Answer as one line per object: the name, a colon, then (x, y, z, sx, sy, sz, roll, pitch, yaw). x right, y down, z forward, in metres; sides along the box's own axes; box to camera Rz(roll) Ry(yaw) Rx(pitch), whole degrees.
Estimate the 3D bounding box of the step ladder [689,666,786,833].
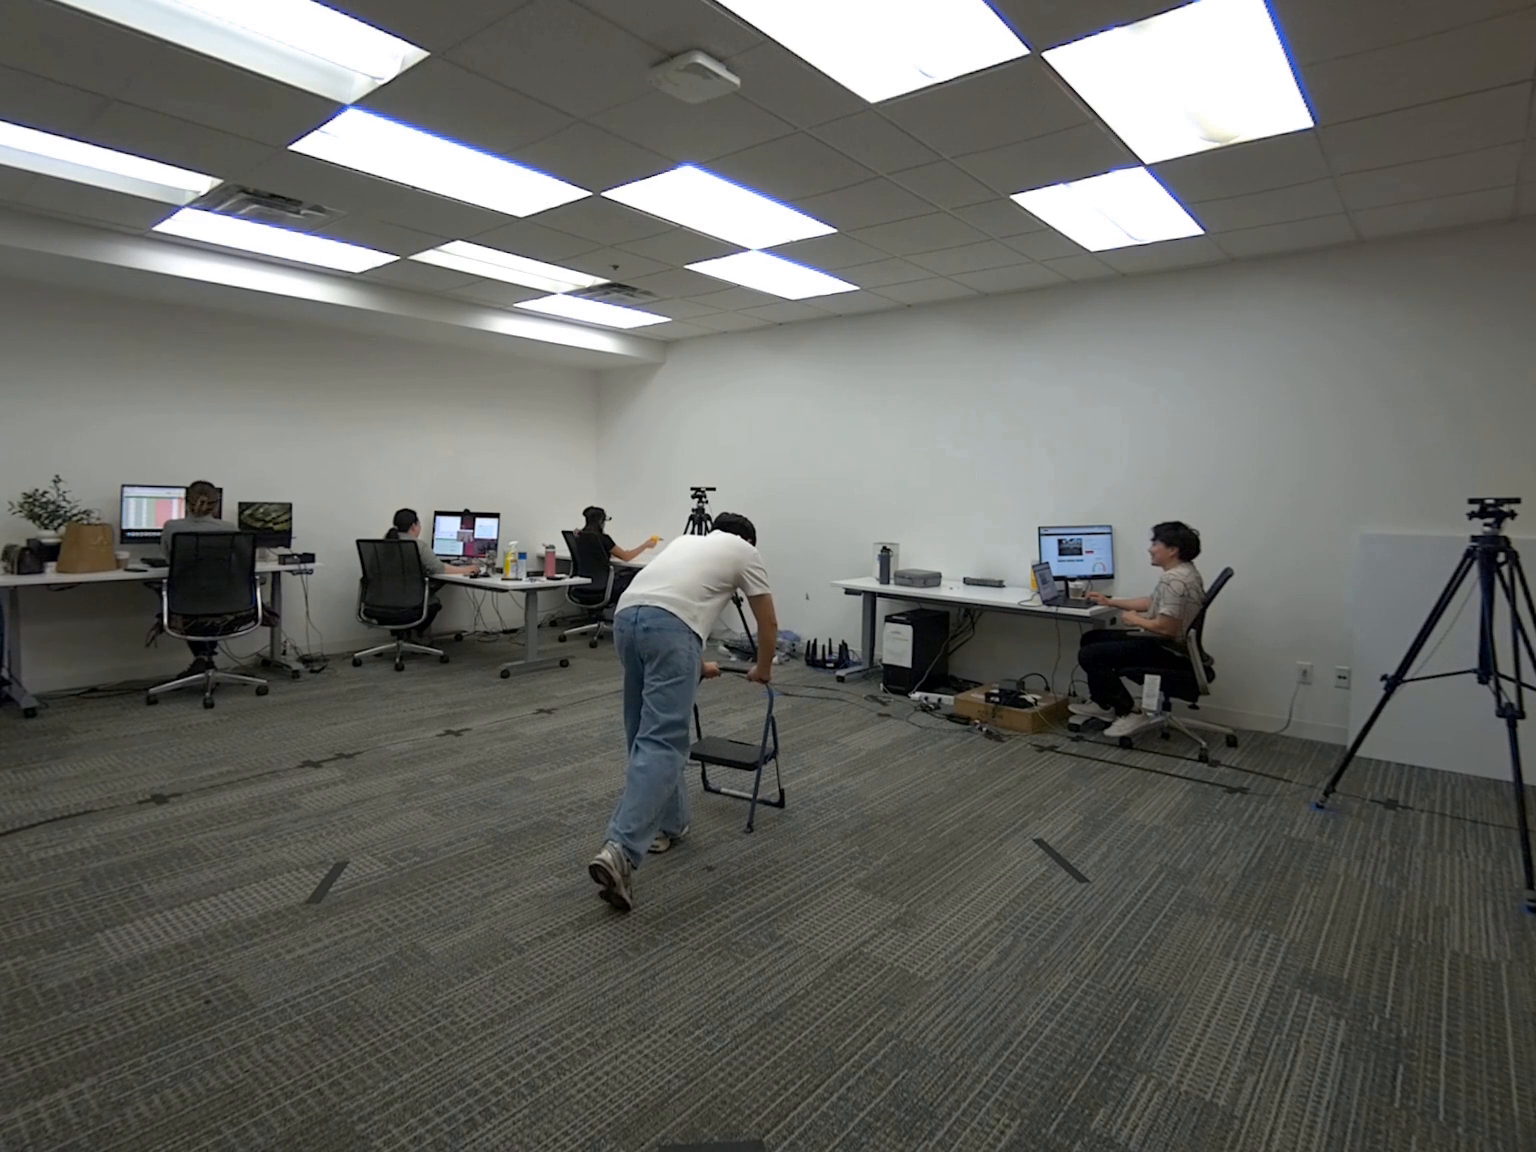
step ladder: (-0.183, 0.708, 3.676, 0.443, 0.604, 0.340, 3, 3, 28)
